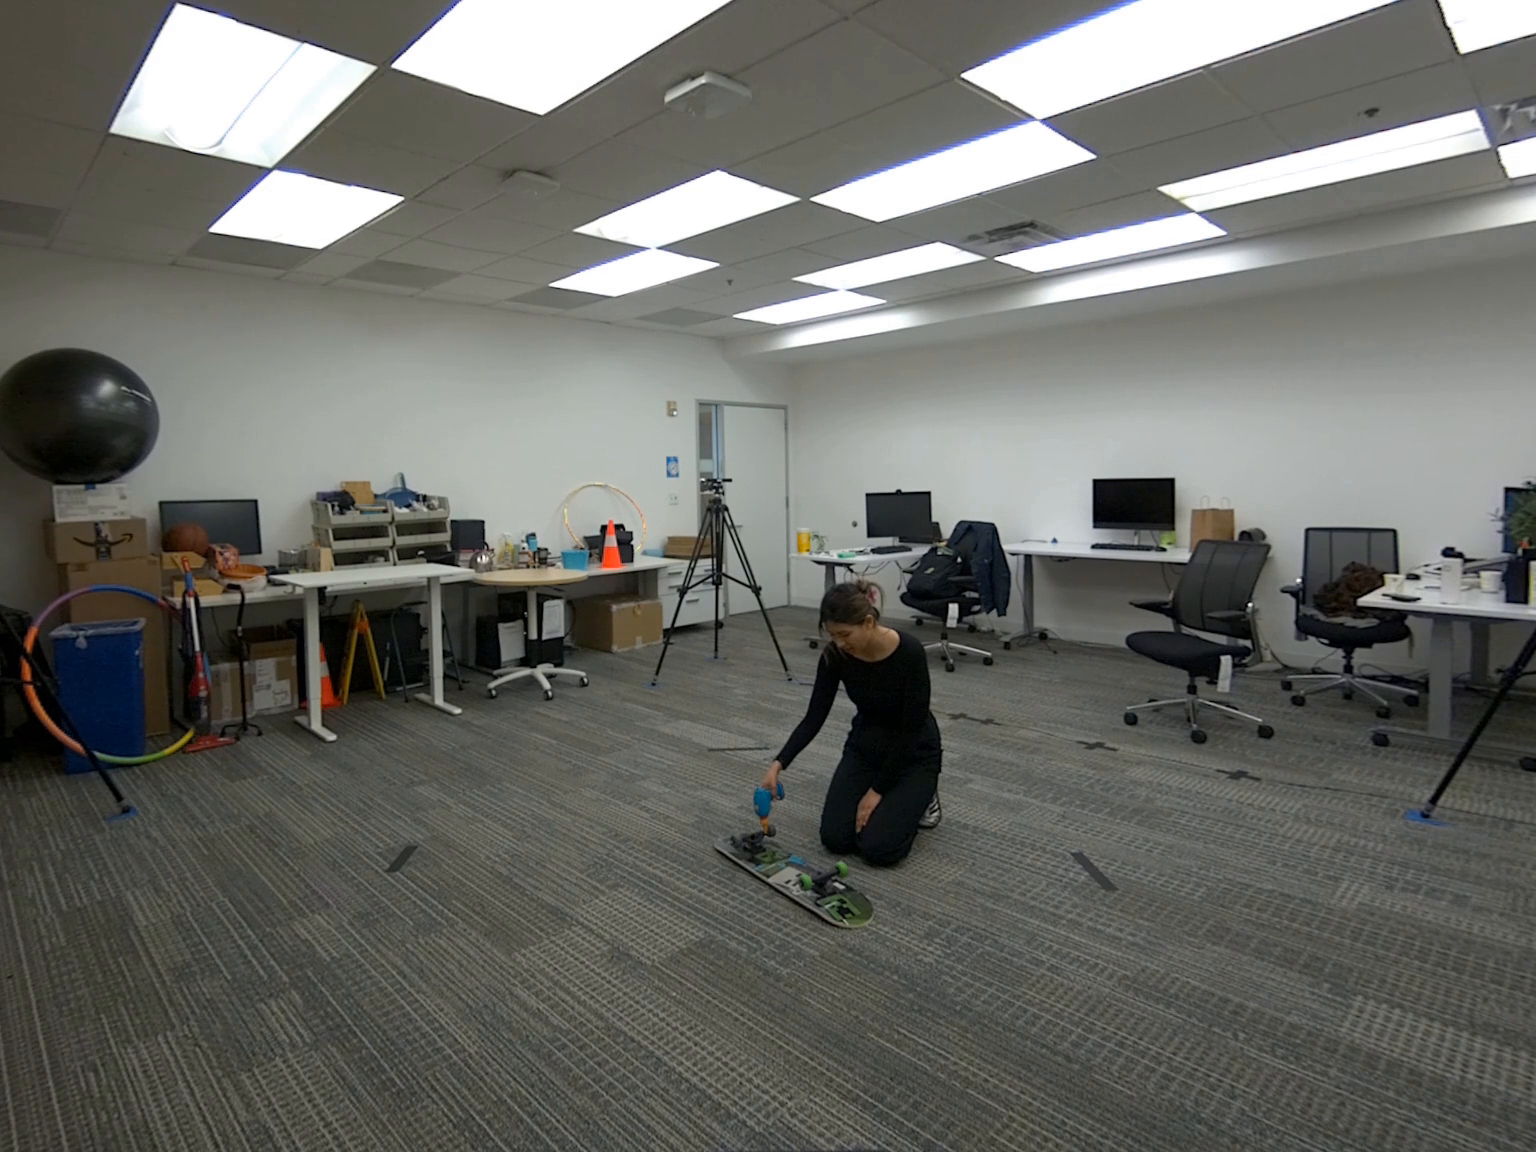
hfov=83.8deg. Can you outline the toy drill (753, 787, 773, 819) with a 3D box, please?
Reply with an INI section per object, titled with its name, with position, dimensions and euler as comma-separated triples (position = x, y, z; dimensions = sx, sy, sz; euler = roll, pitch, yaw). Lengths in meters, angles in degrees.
[toy drill]
position = 0.004, 0.852, 3.155
dimensions = 0.062, 0.170, 0.142
euler = -11, -3, 36
